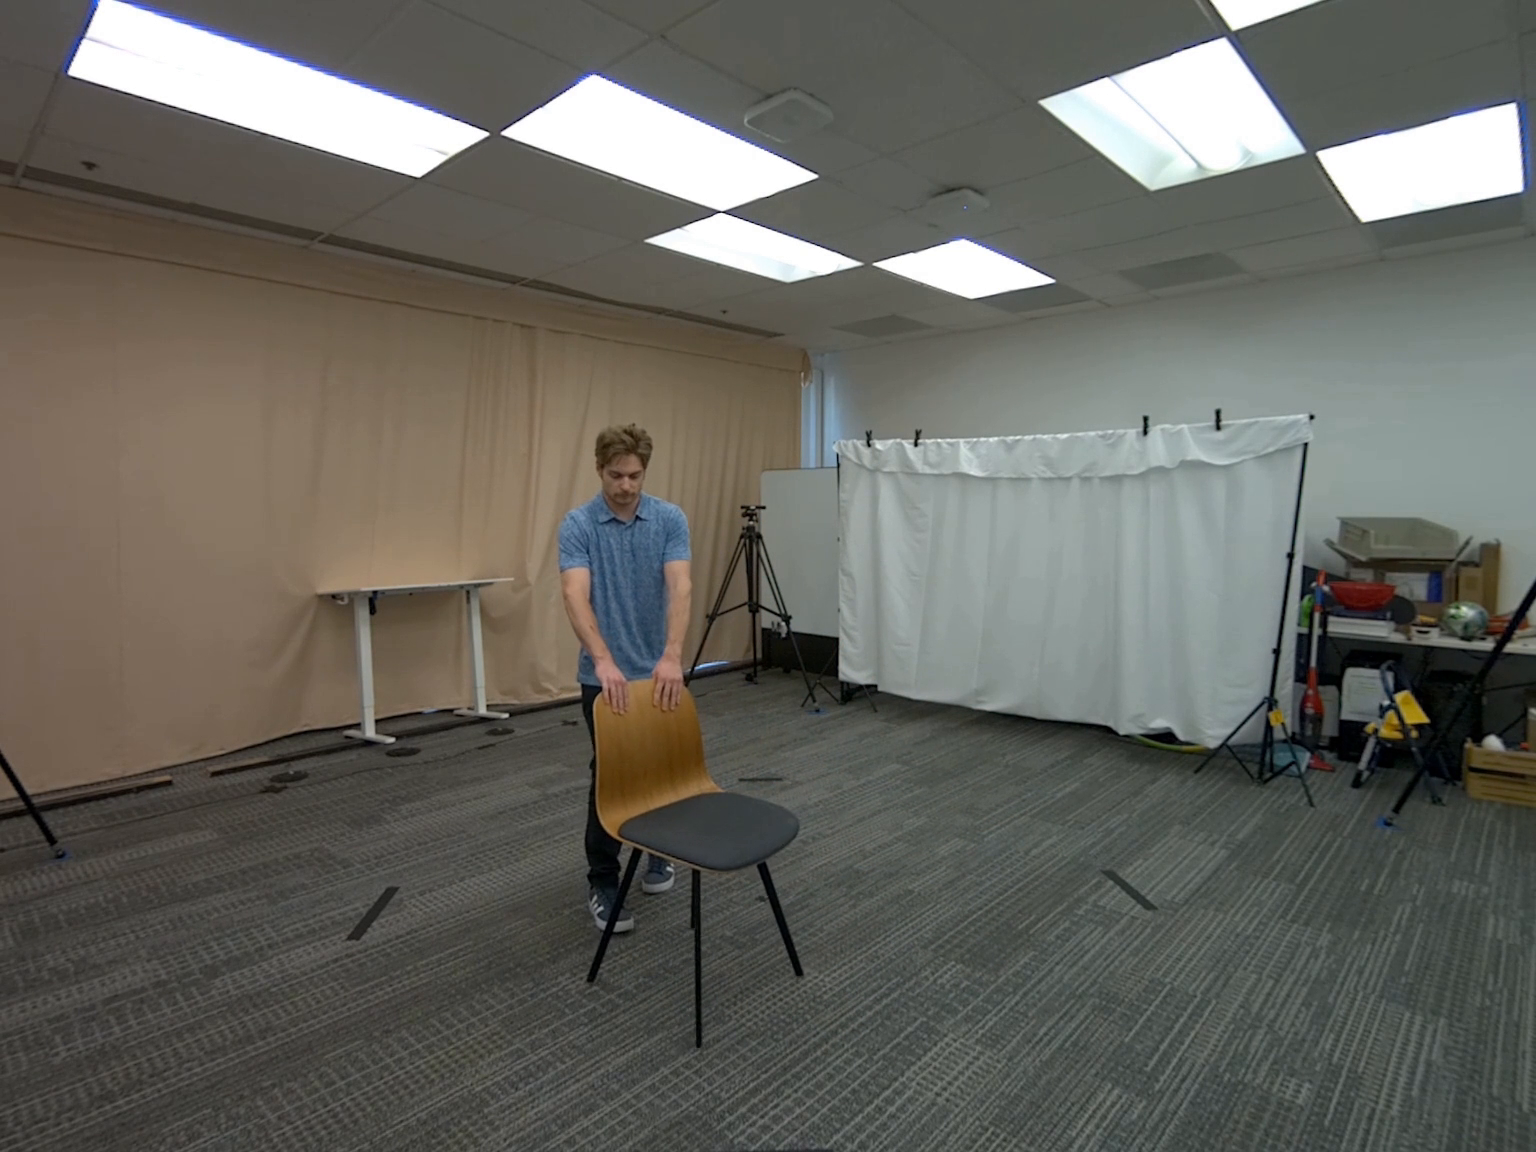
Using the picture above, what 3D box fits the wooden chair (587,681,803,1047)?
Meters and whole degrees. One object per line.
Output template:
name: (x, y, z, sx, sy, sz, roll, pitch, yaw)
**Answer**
wooden chair: (-0.202, 0.761, 2.445, 0.539, 0.877, 0.463, -3, 1, 41)
